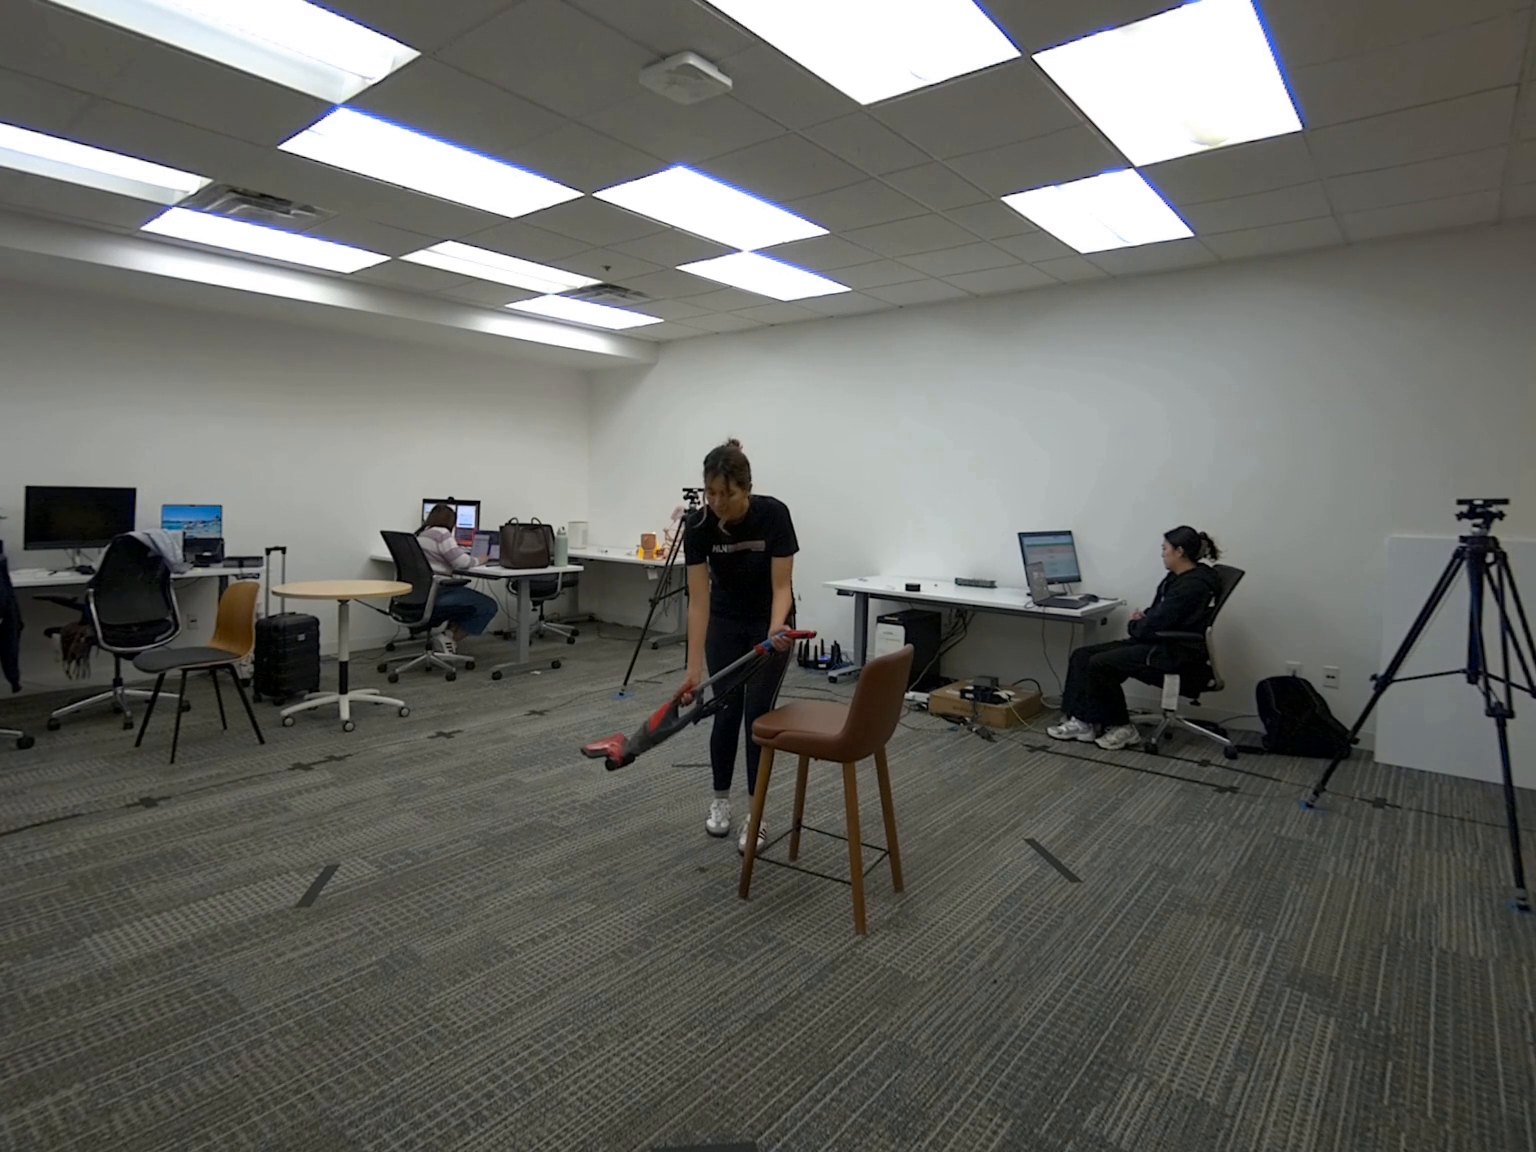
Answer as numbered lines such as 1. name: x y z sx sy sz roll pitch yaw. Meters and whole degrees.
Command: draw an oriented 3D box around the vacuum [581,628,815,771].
1. vacuum: -0.253 0.460 3.121 1.058 0.147 0.245 -33 -17 28
